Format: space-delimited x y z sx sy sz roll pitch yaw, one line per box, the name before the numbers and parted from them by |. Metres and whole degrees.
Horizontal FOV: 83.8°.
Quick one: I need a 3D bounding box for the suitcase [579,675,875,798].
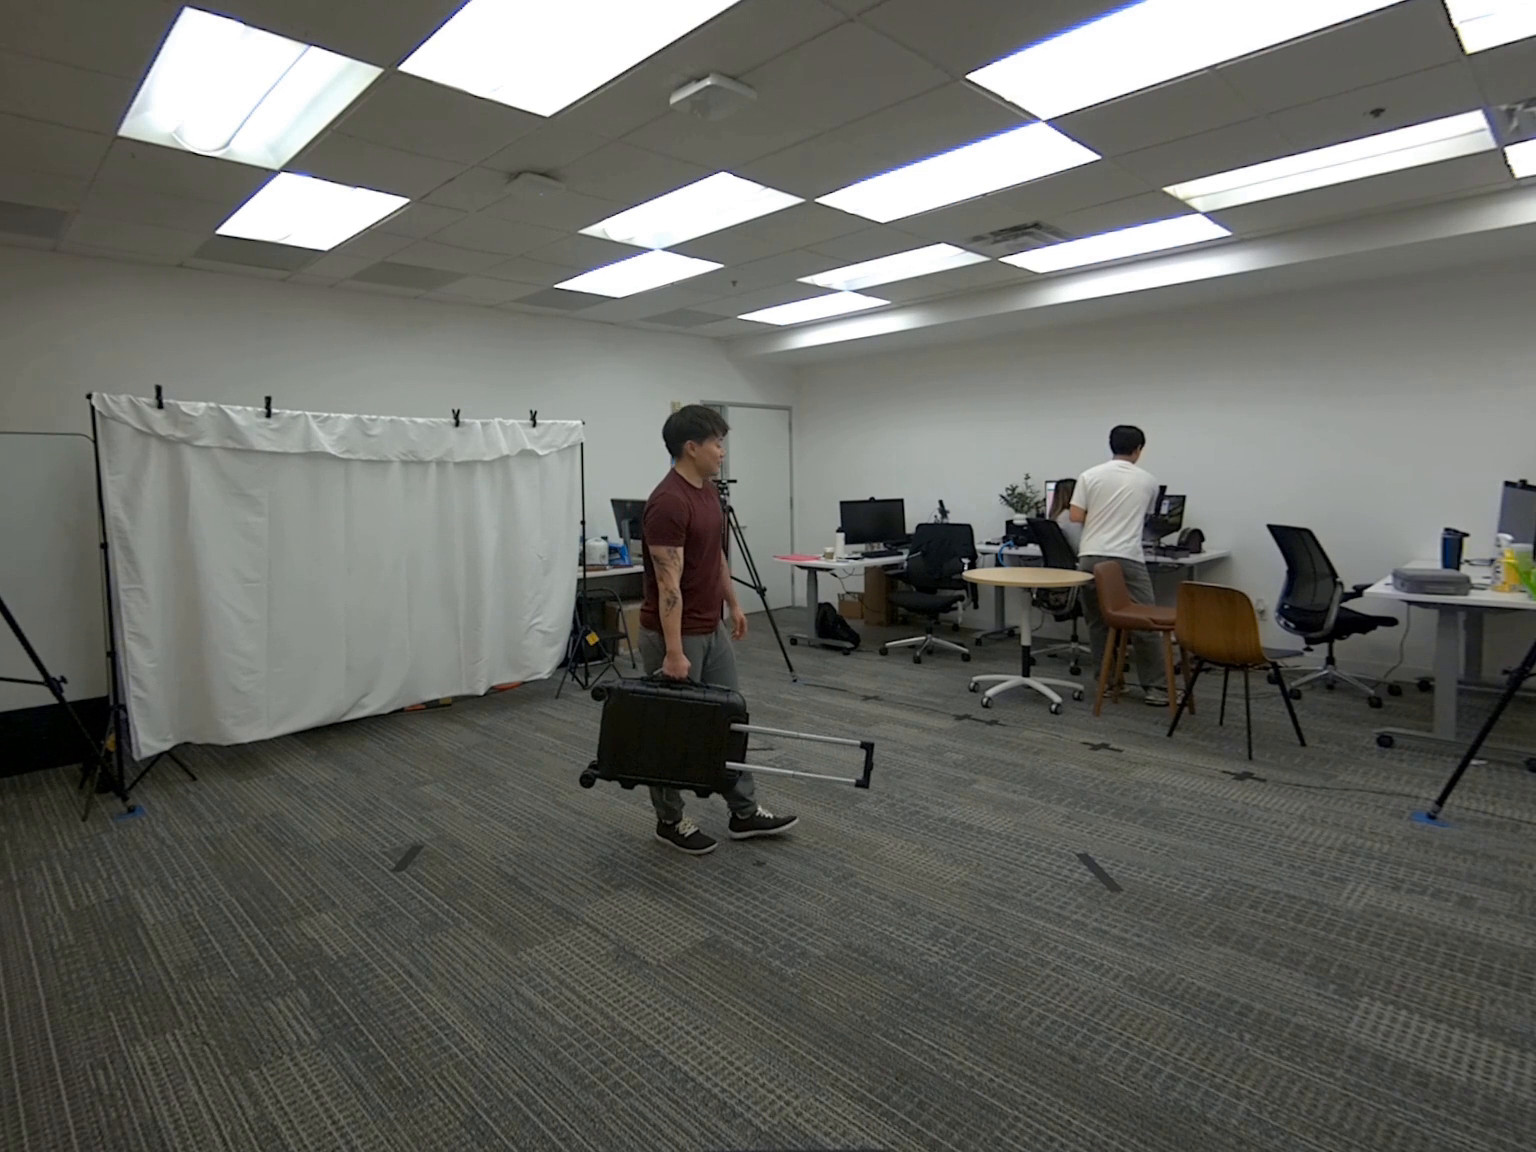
suitcase | -0.142 0.574 3.006 0.976 0.385 0.257 5 -3 -2
